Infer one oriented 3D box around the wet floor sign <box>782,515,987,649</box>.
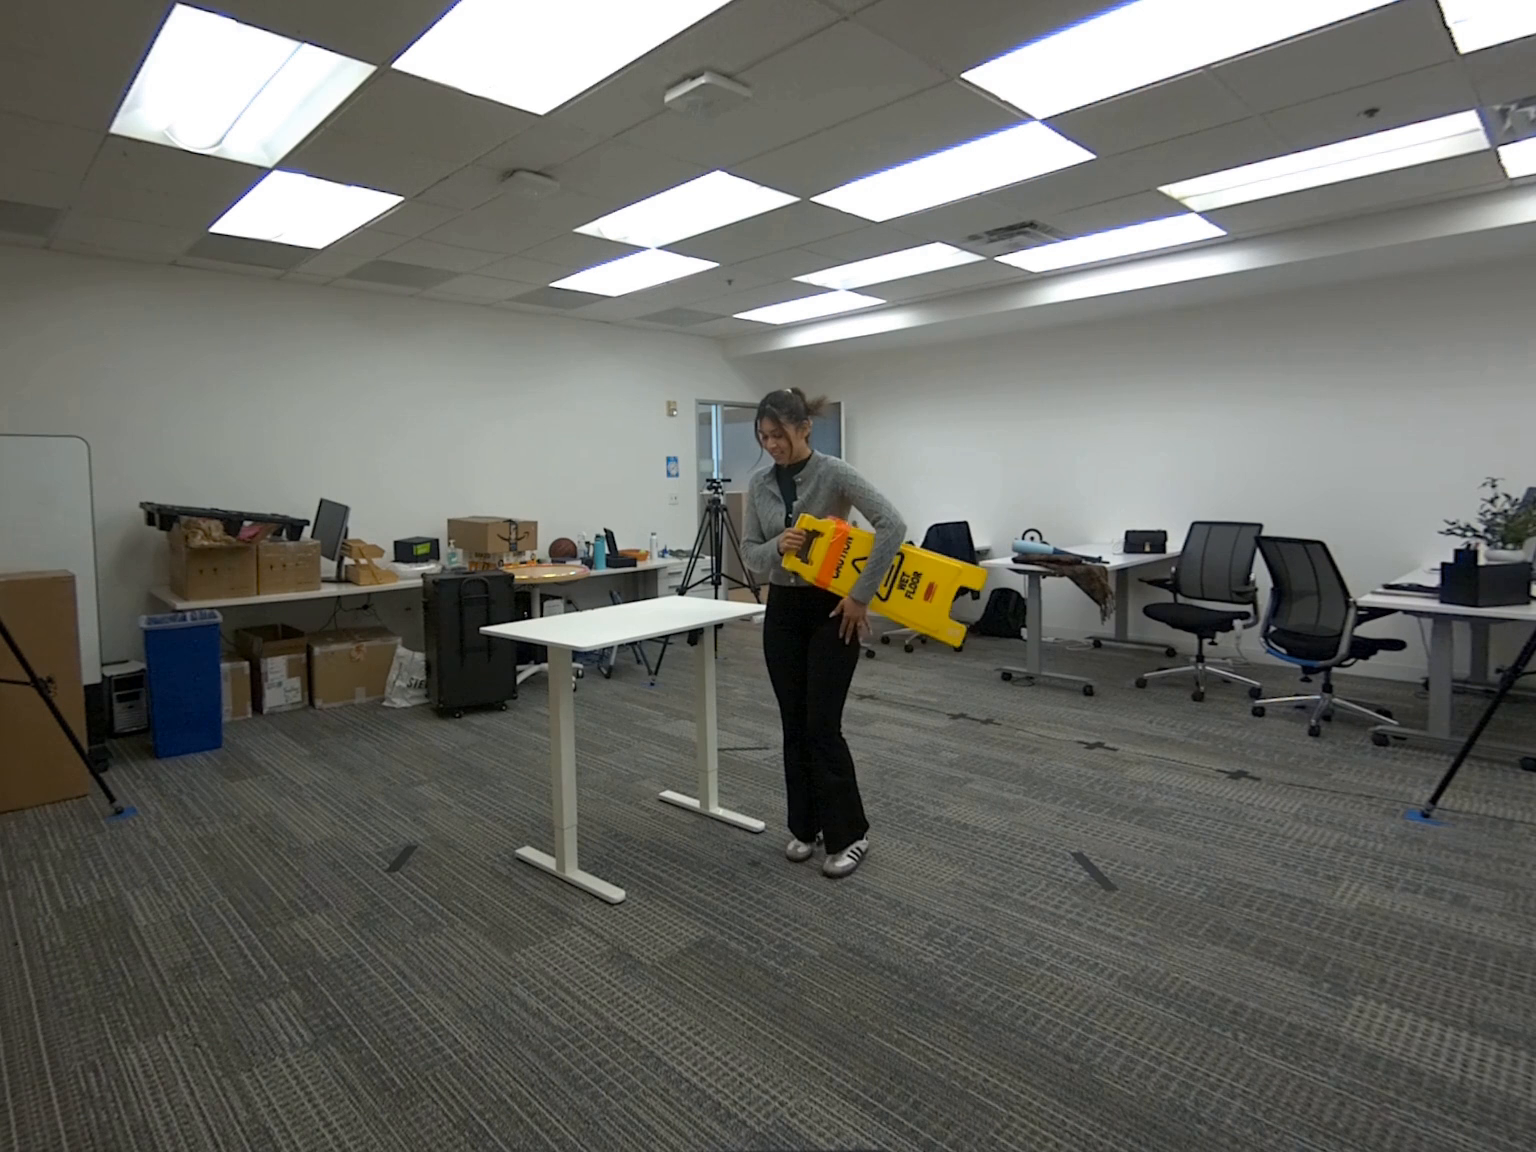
[{"bbox_3d":[0.365,0.000,2.947,0.638,0.282,0.294,21,2,-11],"label":"wet floor sign"}]
